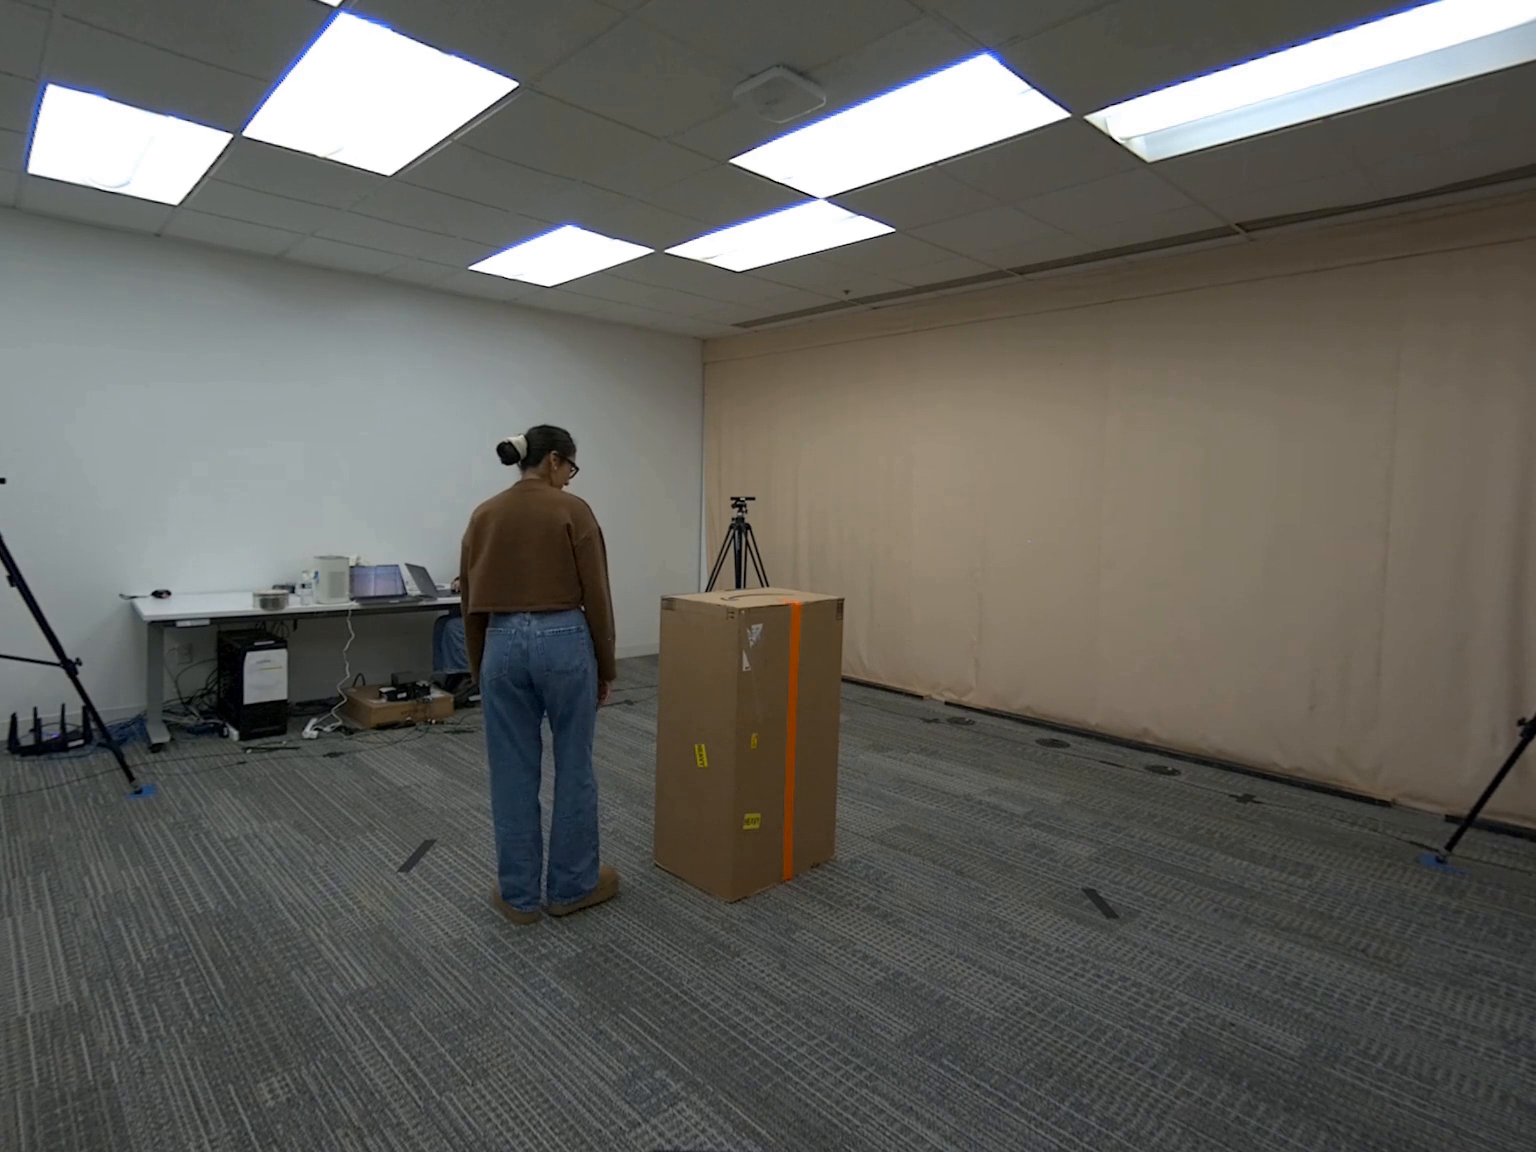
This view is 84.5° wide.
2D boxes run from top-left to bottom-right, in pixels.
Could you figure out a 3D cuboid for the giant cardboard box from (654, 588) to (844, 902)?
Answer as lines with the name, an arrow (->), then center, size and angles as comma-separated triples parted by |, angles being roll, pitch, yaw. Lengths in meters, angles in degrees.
giant cardboard box -> -0.073, 0.592, 3.207 | 0.458, 1.025, 0.570 | 4, 4, 43
